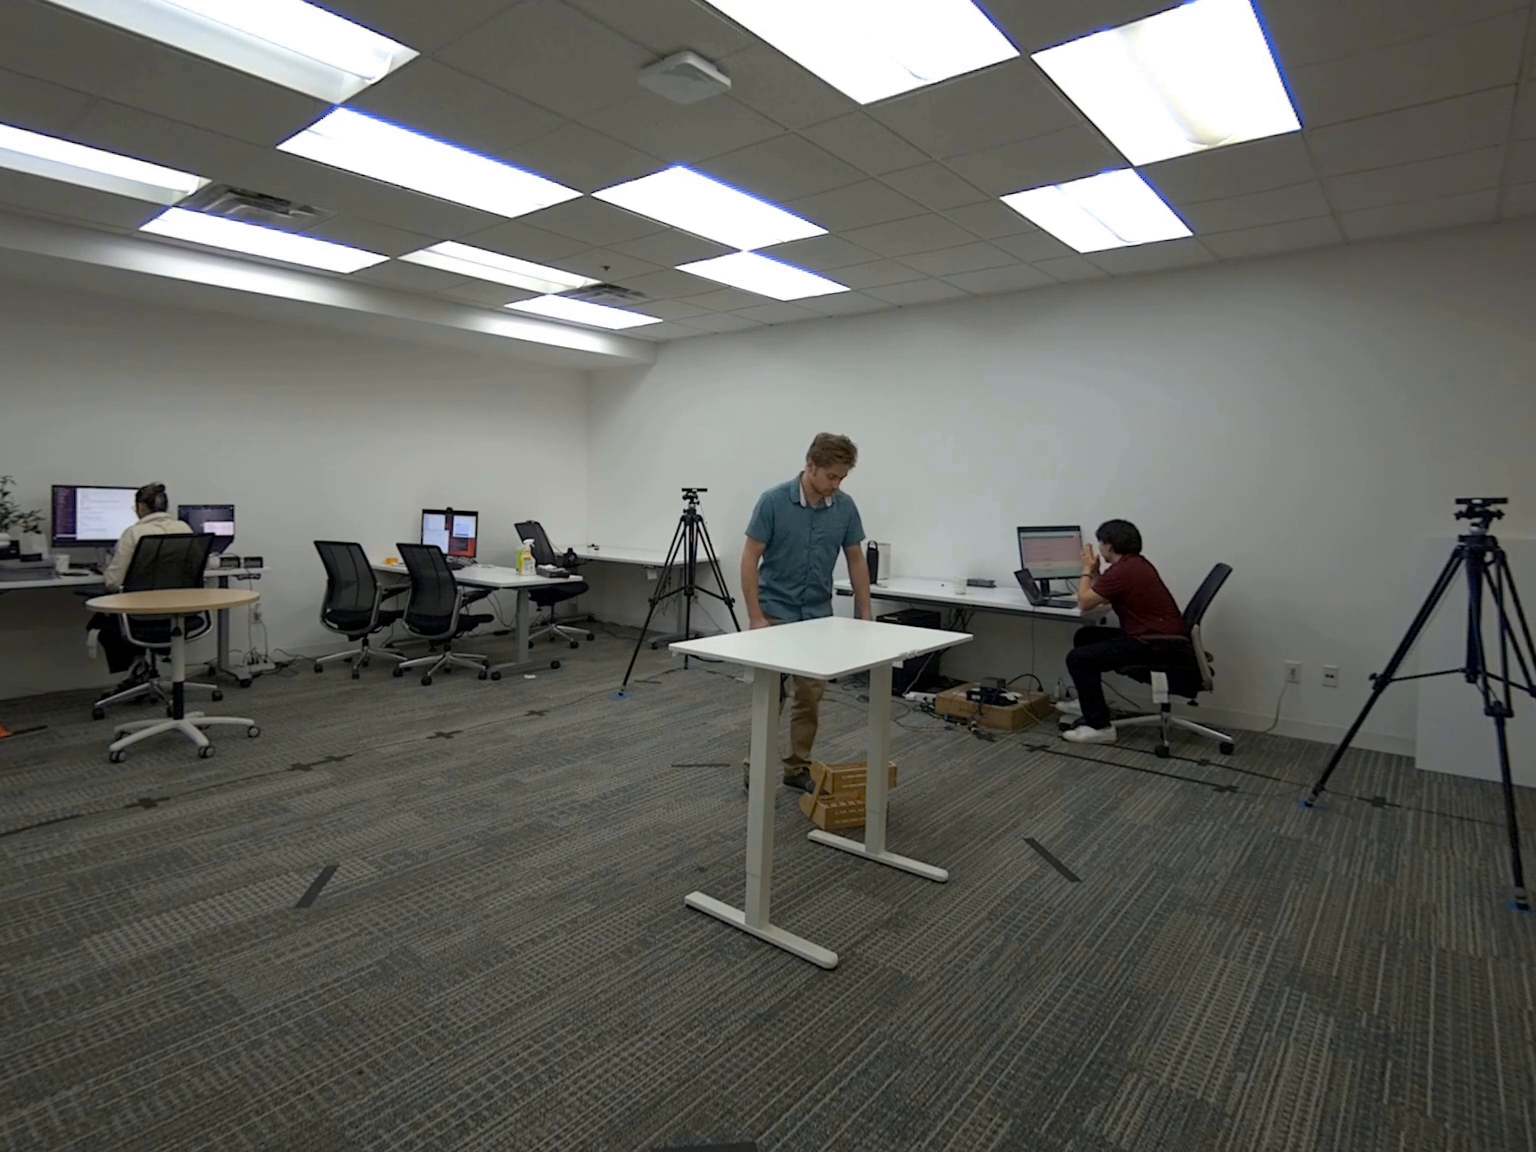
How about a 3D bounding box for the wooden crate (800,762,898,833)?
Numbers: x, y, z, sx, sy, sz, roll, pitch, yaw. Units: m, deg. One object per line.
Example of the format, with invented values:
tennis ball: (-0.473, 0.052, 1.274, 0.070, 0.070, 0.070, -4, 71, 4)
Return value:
wooden crate: (0.325, 0.892, 3.634, 0.318, 0.272, 0.309, 0, 5, -21)
